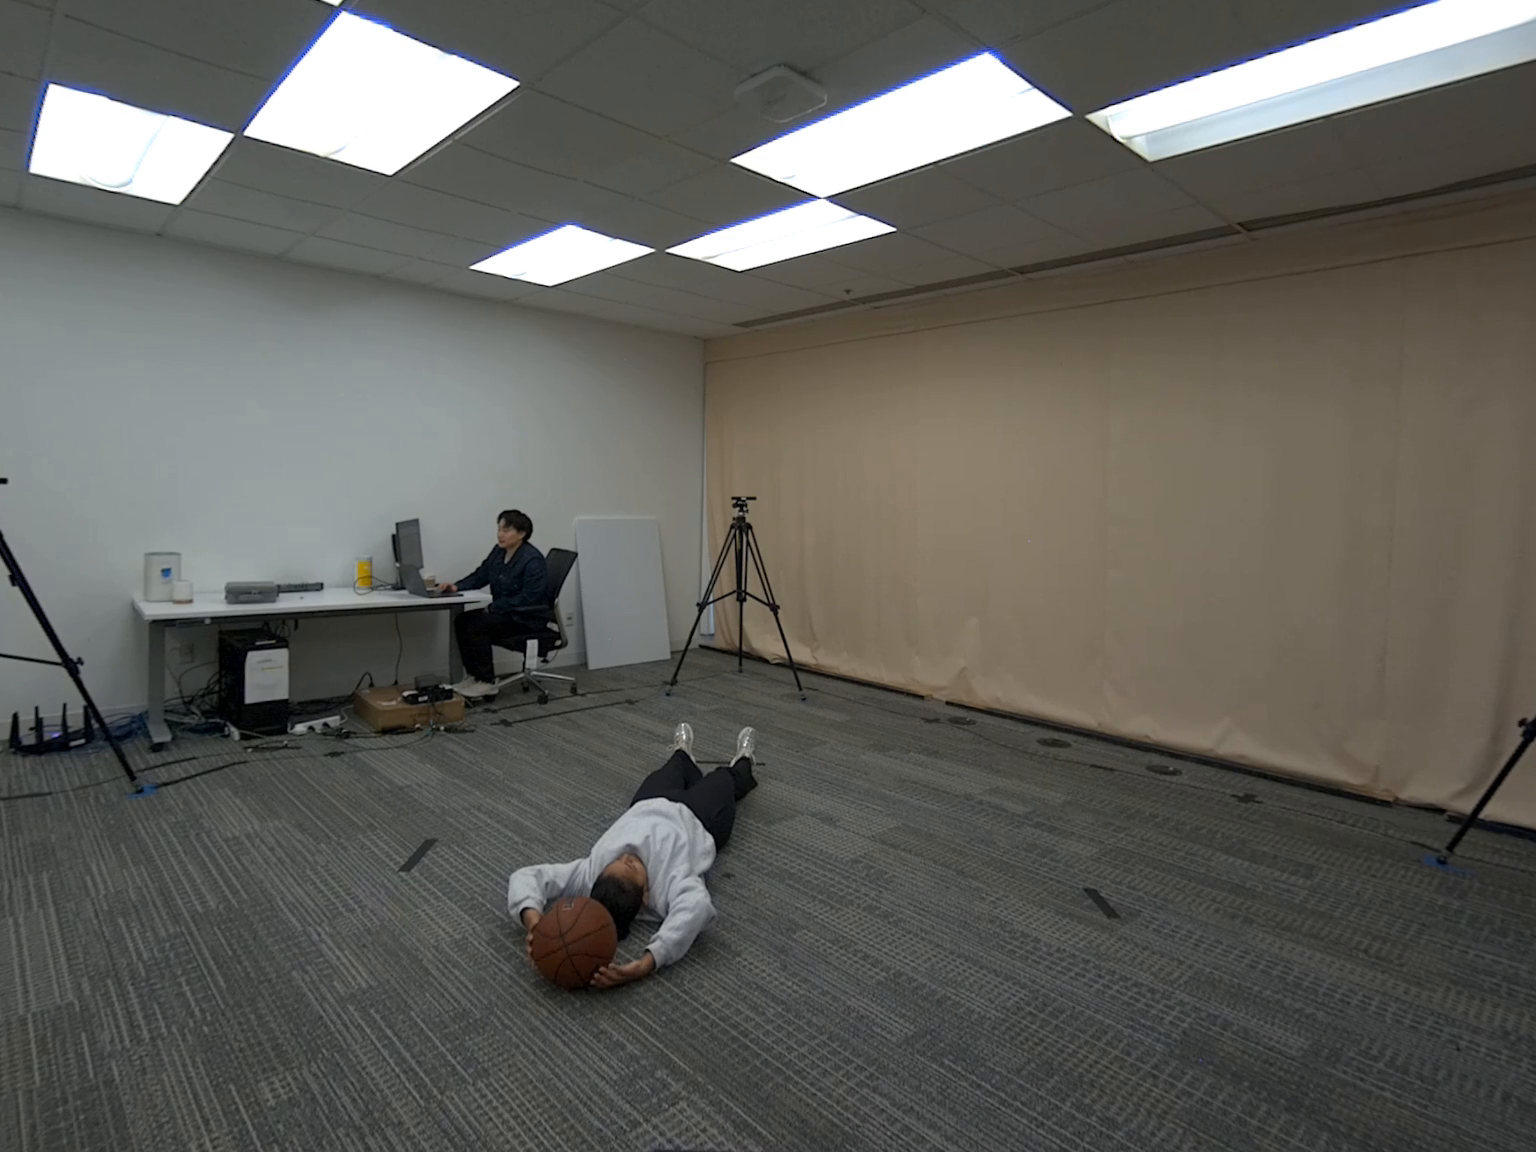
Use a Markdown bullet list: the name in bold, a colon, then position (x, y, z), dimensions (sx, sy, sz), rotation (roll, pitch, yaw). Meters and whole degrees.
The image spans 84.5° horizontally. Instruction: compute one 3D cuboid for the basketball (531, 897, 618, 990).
- **basketball**: position (-0.558, 1.043, 2.396), dimensions (0.236, 0.235, 0.237), rotation (1, 5, -1)
